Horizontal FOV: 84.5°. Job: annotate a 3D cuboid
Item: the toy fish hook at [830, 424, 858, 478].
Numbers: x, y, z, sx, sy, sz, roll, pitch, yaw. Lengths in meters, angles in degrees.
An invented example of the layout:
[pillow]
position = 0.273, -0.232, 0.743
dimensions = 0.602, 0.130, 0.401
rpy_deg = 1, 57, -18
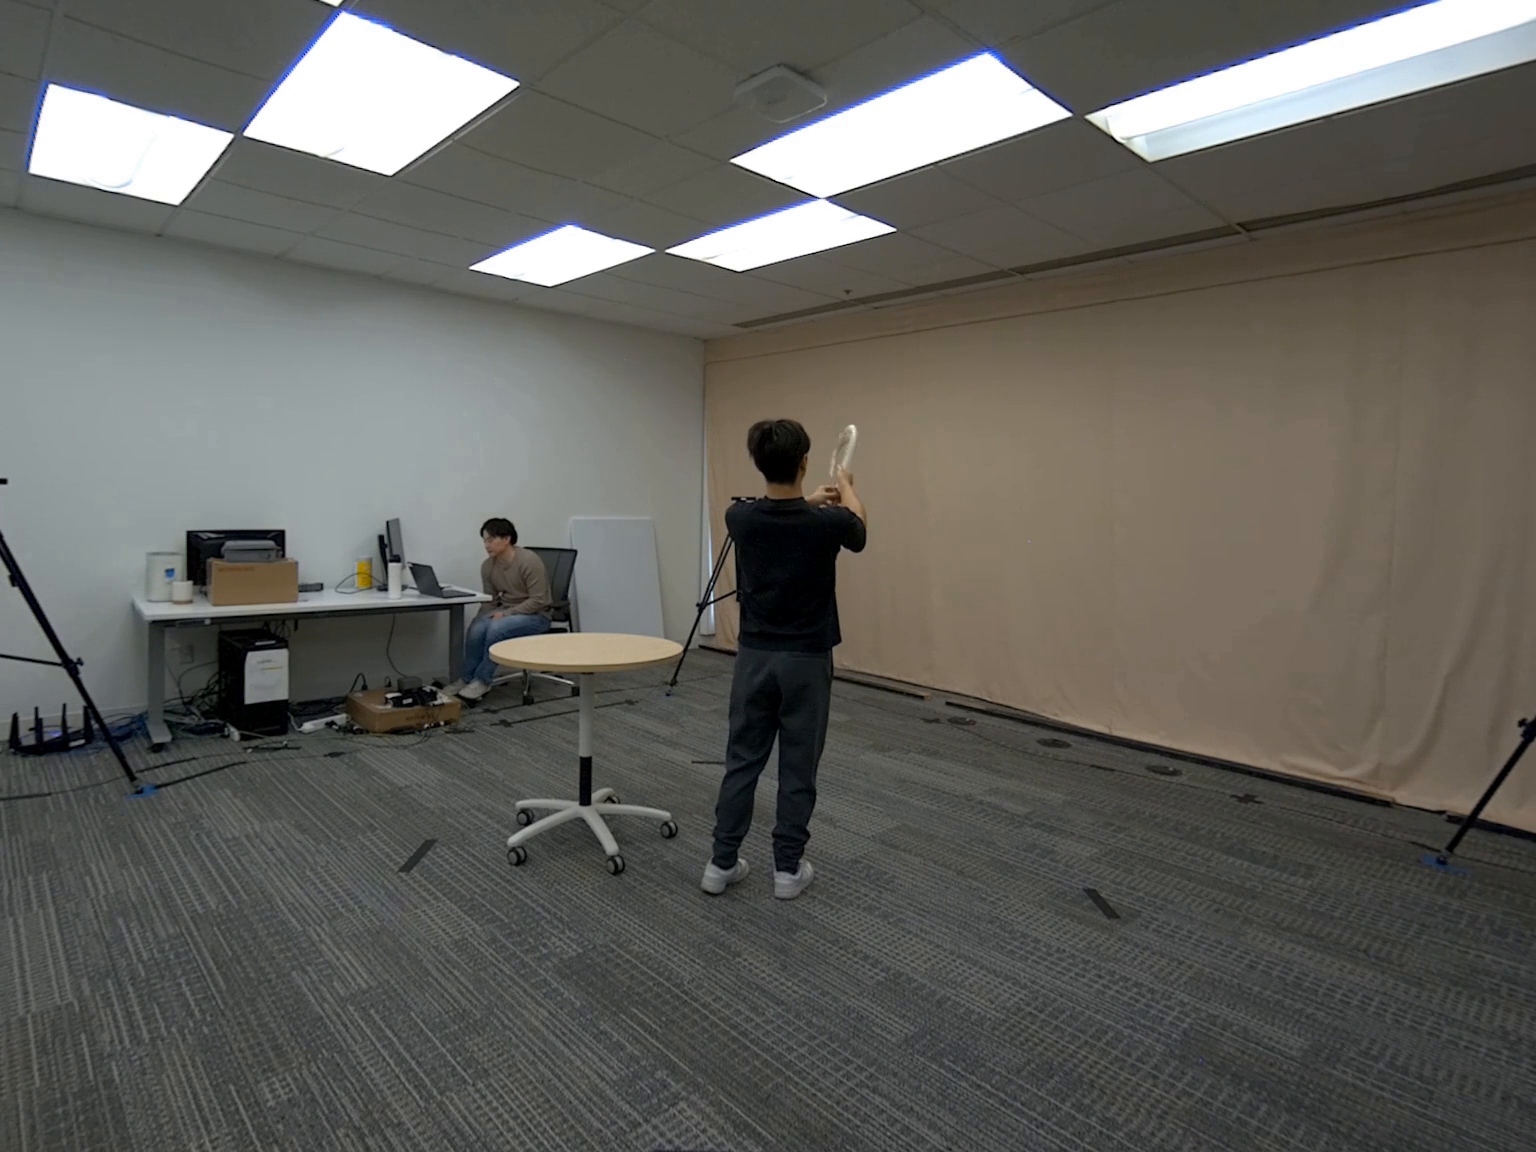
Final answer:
[toy fish hook]
position = 0.279, -0.381, 3.421
dimensions = 0.048, 0.512, 0.224
rpy_deg = 15, -20, -9
